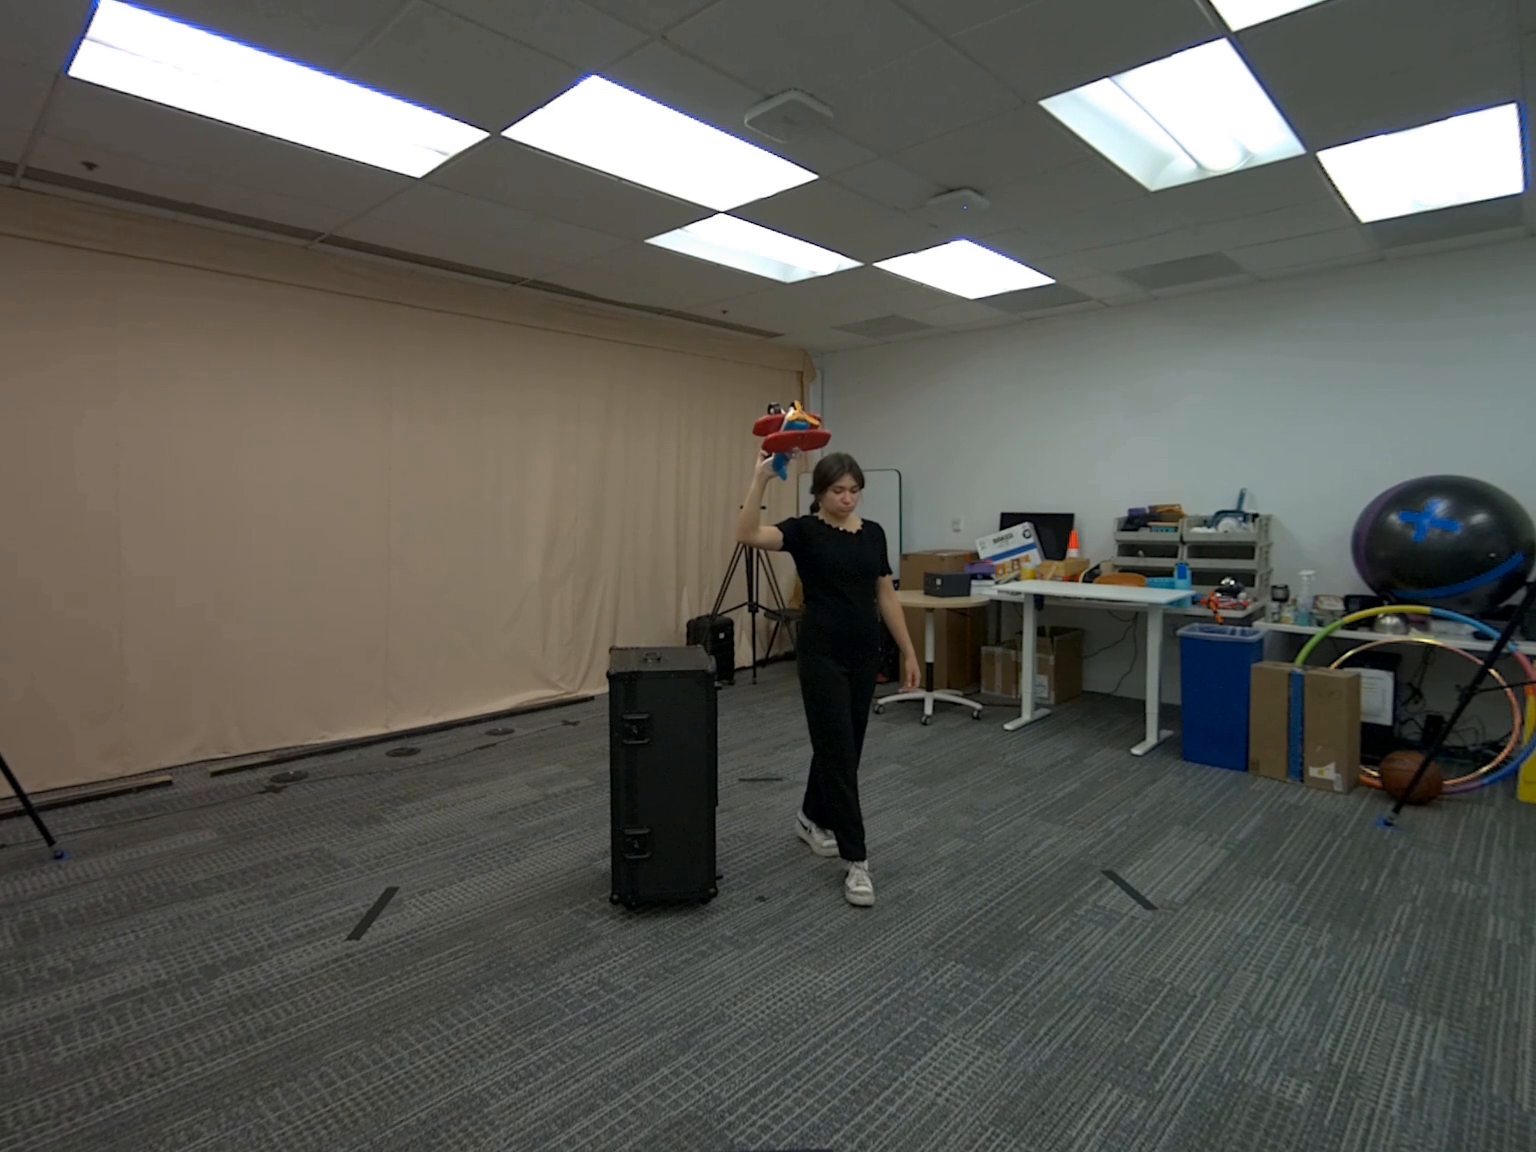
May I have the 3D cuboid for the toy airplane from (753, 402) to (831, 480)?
[{"bbox_3d":[0.082,-0.464,2.838,0.250,0.252,0.162,-28,47,-7],"label":"toy airplane"}]
